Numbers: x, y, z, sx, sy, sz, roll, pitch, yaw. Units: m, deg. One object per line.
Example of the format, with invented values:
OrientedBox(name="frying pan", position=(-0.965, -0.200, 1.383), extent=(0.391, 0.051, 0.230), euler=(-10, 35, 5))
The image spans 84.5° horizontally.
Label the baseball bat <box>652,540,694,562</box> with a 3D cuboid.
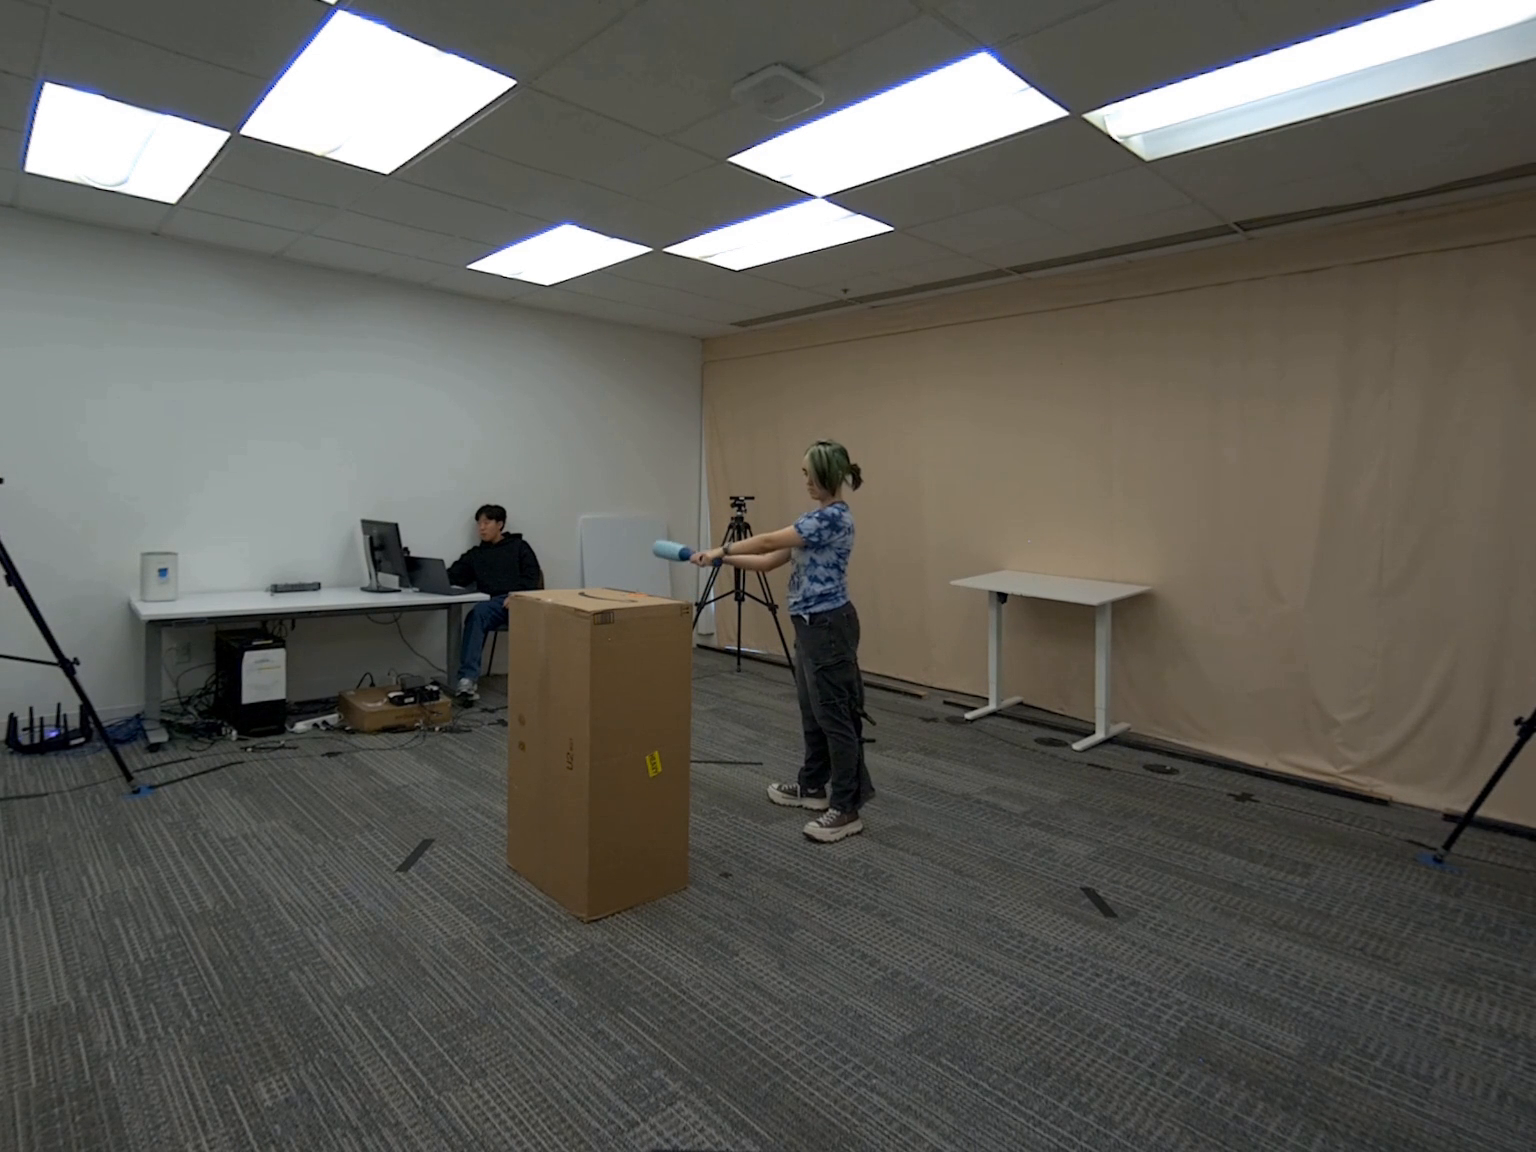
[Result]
OrientedBox(name="baseball bat", position=(-0.362, -0.101, 3.888), extent=(0.087, 0.088, 0.557), euler=(-2, 9, -35))
